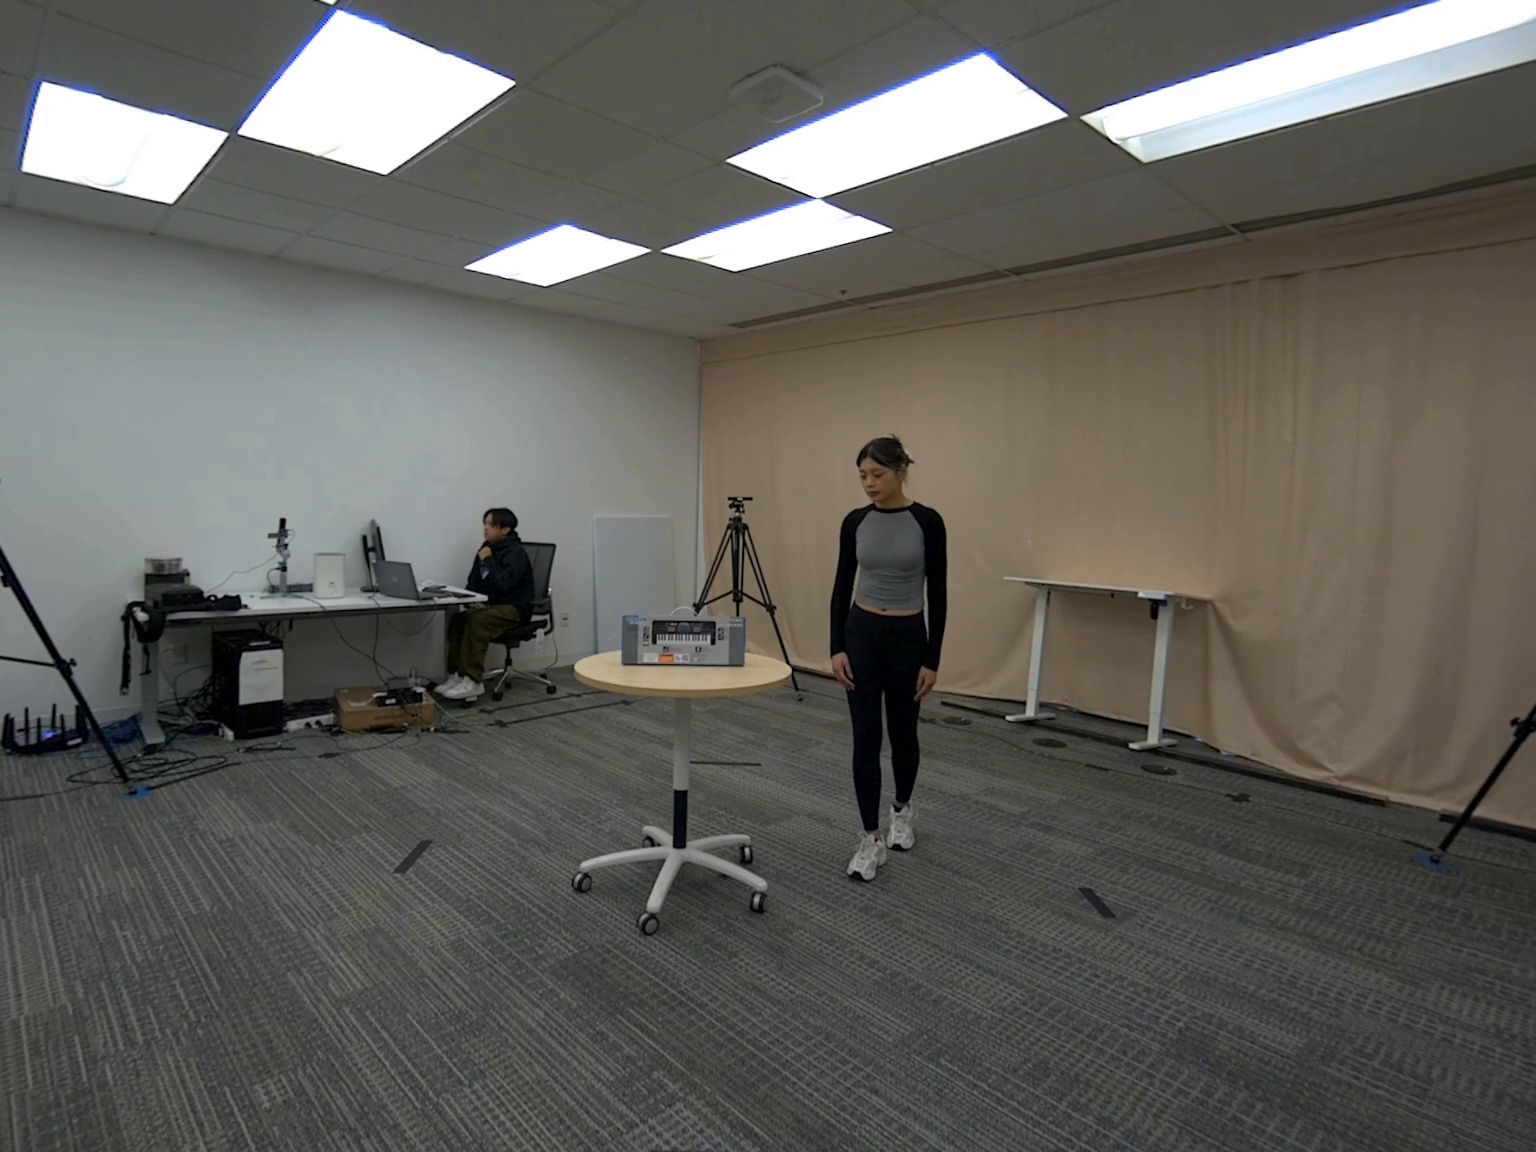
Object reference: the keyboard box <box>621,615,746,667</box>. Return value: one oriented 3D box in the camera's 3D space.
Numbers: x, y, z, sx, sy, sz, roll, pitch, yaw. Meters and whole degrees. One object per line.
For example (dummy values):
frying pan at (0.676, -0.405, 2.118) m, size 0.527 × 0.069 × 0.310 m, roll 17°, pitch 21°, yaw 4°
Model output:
keyboard box at (-0.309, 0.232, 3.012) m, size 0.435 × 0.176 × 0.059 m, roll 1°, pitch -1°, yaw -4°
